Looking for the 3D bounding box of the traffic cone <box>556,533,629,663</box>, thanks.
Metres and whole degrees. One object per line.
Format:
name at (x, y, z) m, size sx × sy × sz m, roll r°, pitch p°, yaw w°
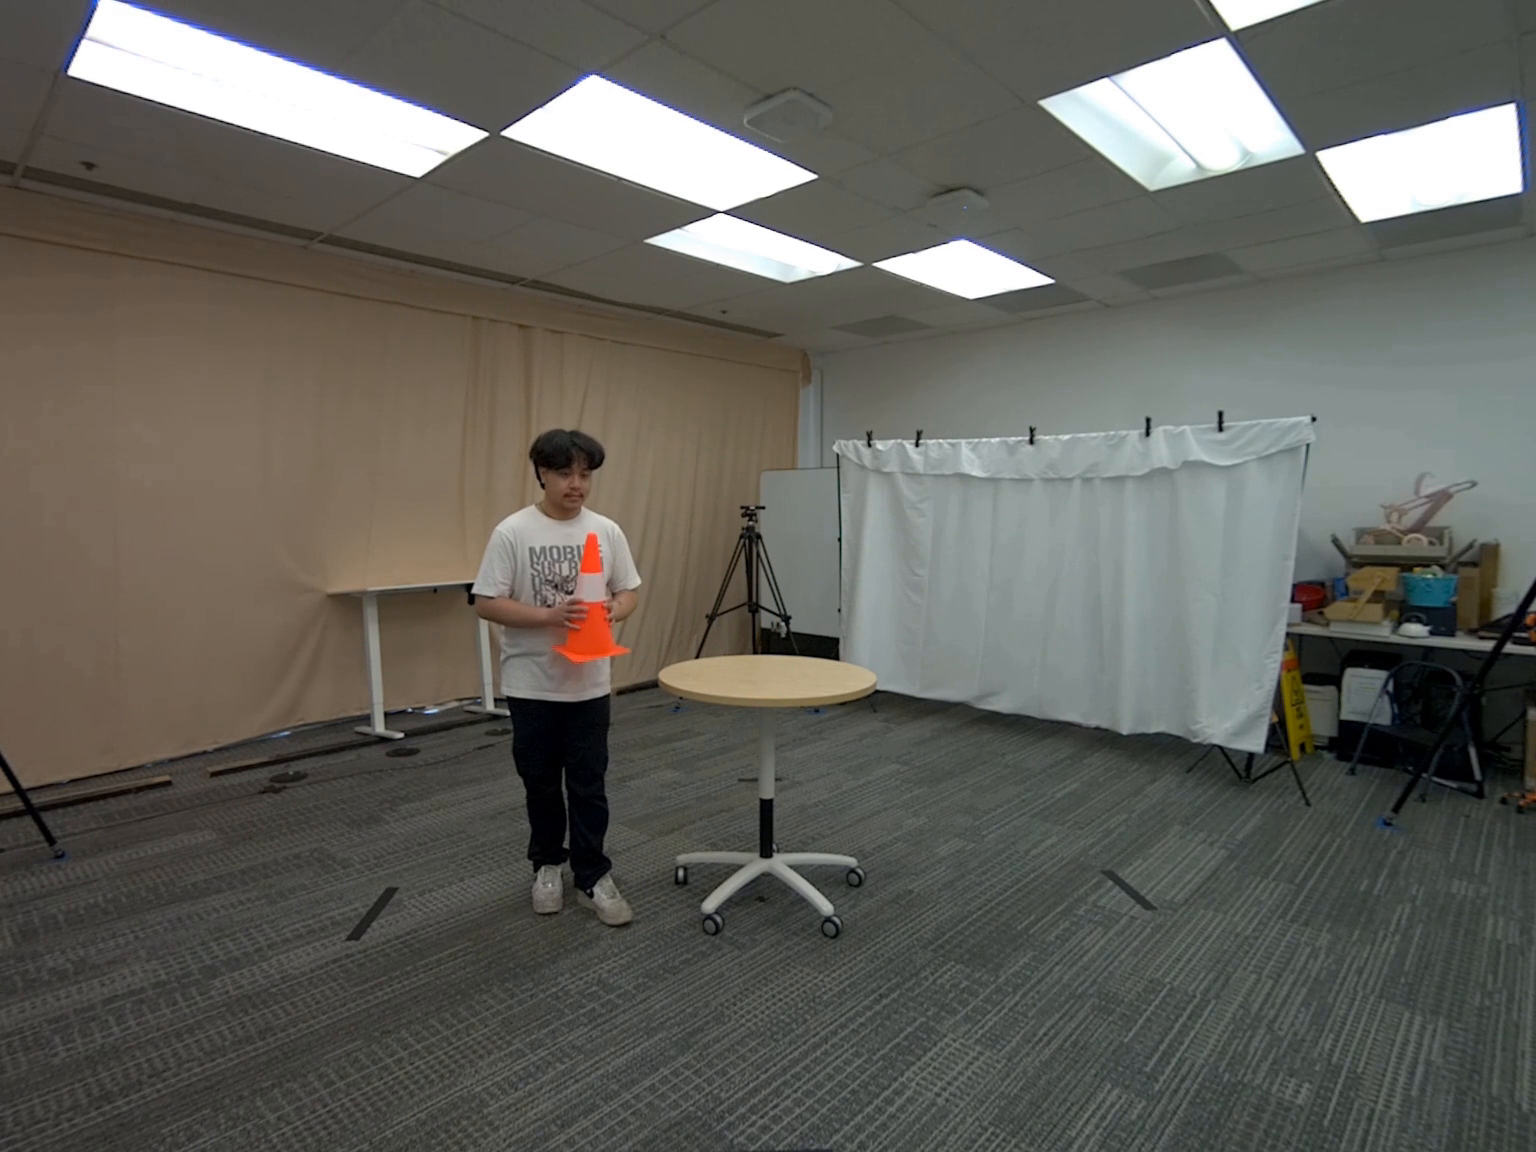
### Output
traffic cone at (-0.566, 0.049, 2.695) m, size 0.210 × 0.381 × 0.199 m, roll 14°, pitch 13°, yaw 39°
